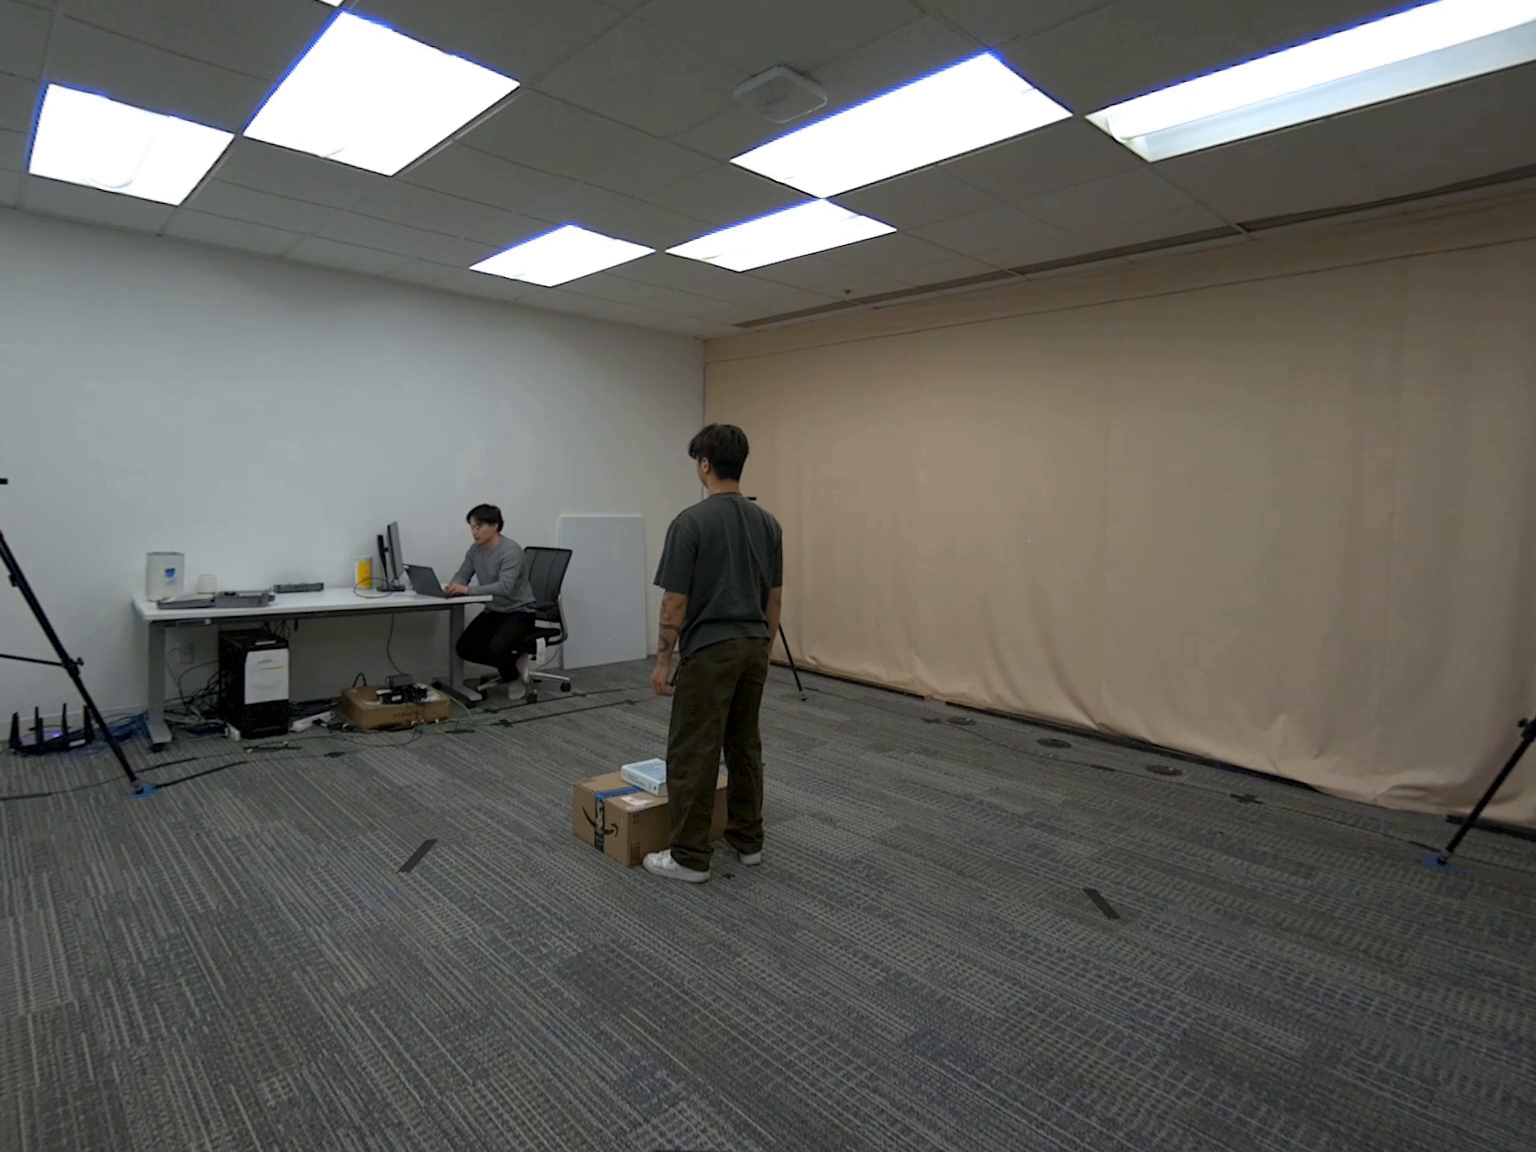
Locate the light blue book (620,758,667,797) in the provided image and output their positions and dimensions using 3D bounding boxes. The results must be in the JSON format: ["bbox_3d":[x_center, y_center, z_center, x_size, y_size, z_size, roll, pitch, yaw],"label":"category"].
[{"bbox_3d":[-0.463,0.828,3.477,0.187,0.059,0.268,-2,6,-43],"label":"light blue book"}]
